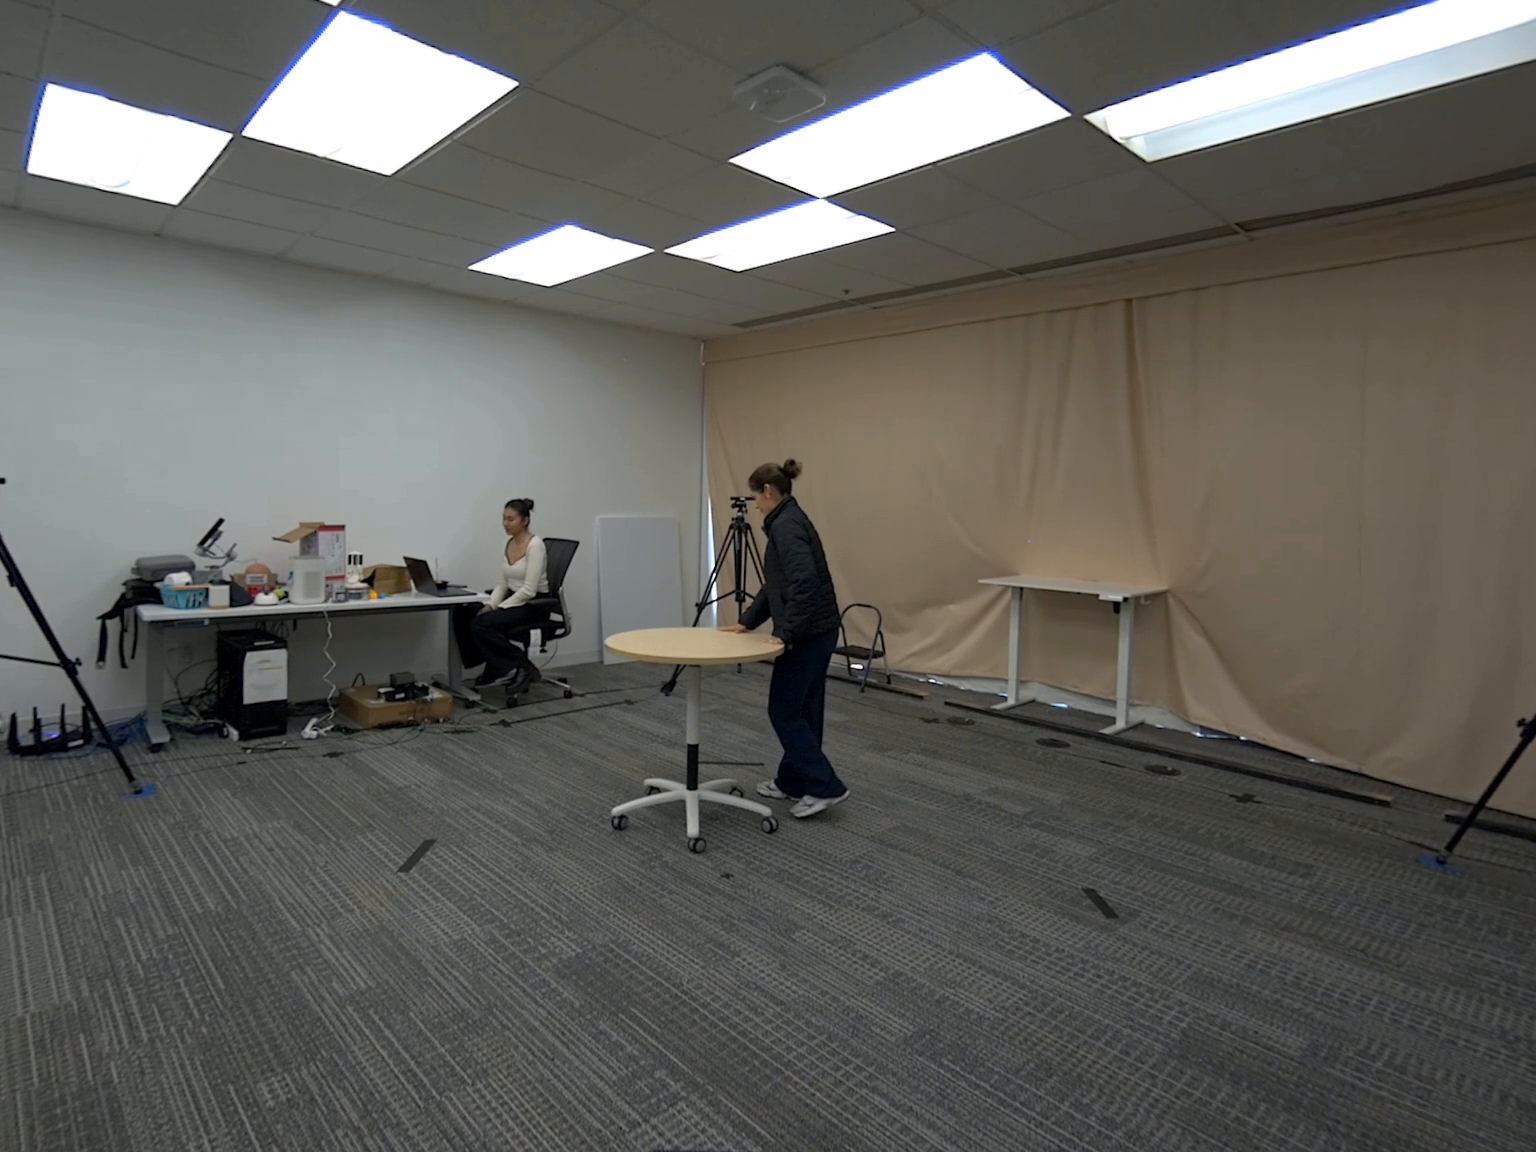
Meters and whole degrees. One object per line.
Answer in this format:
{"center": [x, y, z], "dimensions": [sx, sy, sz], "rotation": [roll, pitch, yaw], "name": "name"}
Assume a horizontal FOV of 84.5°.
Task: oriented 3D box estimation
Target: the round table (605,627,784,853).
{"center": [-0.315, 0.667, 3.602], "dimensions": [0.784, 0.784, 0.788], "rotation": [2, 4, -1], "name": "round table"}
